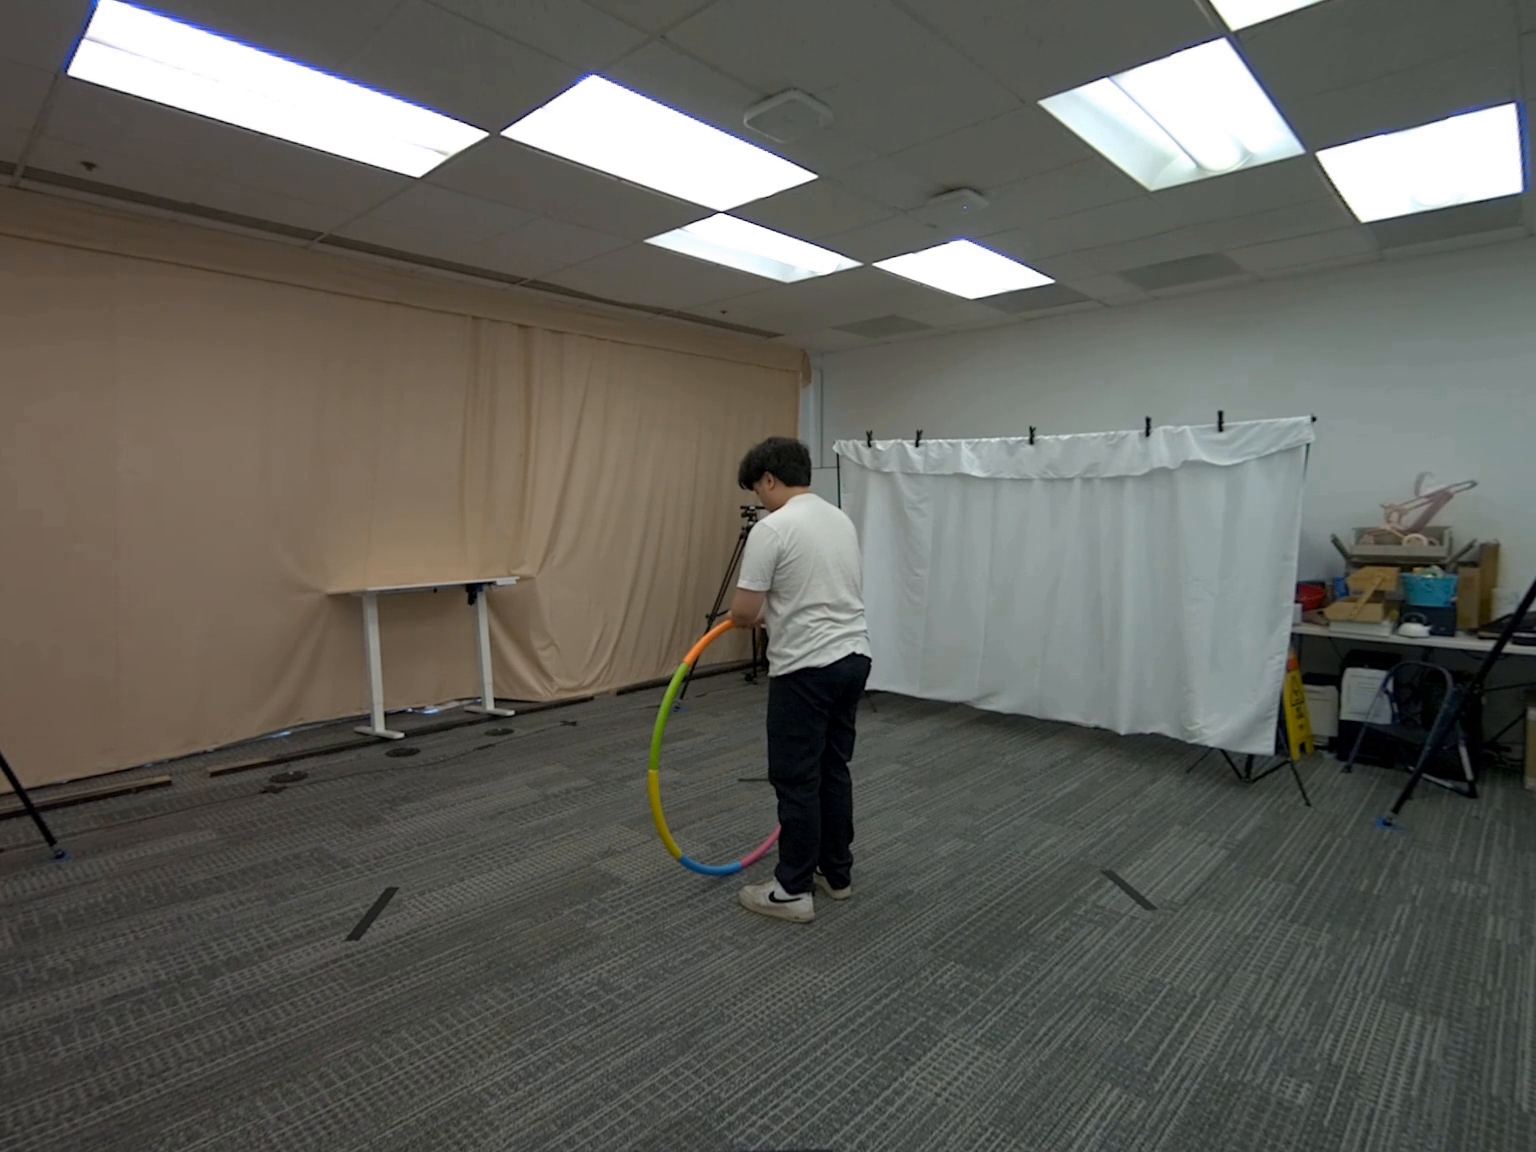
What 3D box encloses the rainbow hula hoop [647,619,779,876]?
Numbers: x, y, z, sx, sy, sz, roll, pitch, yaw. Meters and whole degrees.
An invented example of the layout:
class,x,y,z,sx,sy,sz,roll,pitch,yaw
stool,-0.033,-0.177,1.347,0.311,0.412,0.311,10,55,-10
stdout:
class,x,y,z,sx,sy,sz,roll,pitch,yaw
rainbow hula hoop,-0.093,0.637,3.206,0.053,0.983,0.955,4,6,40
